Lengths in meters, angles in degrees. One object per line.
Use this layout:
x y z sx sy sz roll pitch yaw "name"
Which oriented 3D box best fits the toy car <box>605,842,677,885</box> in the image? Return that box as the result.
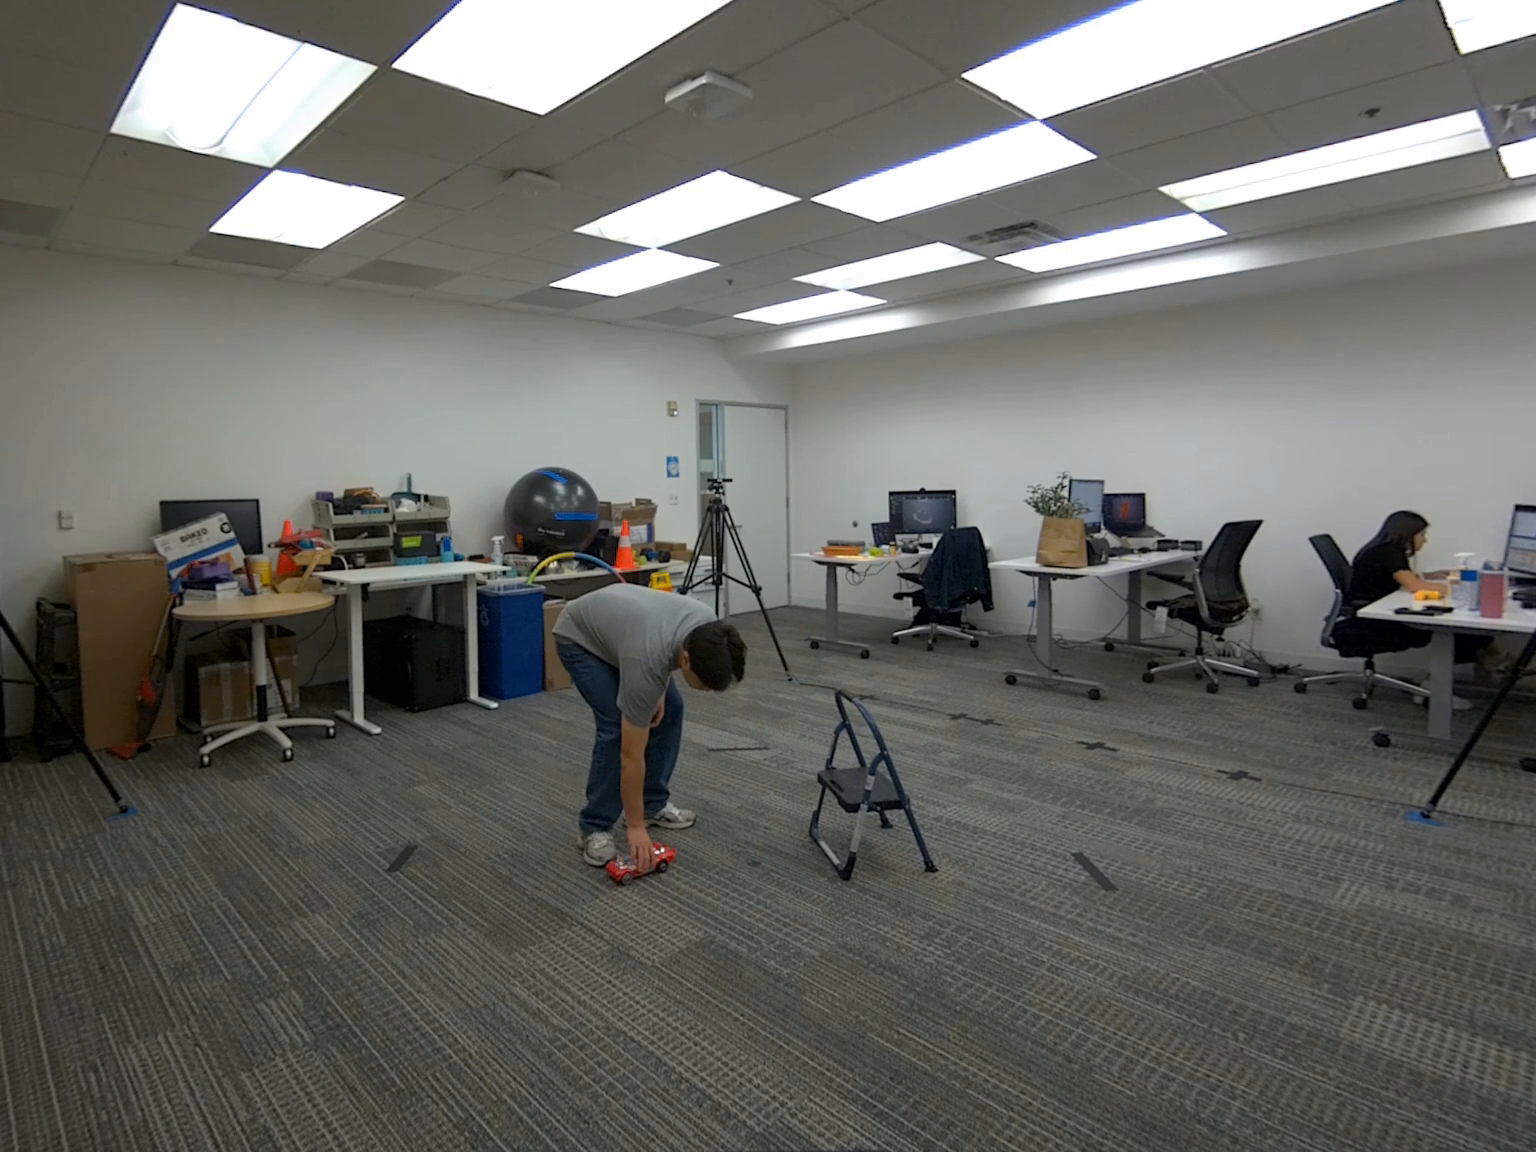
-0.450 1.028 3.051 0.250 0.082 0.134 -18 13 -33 "toy car"
